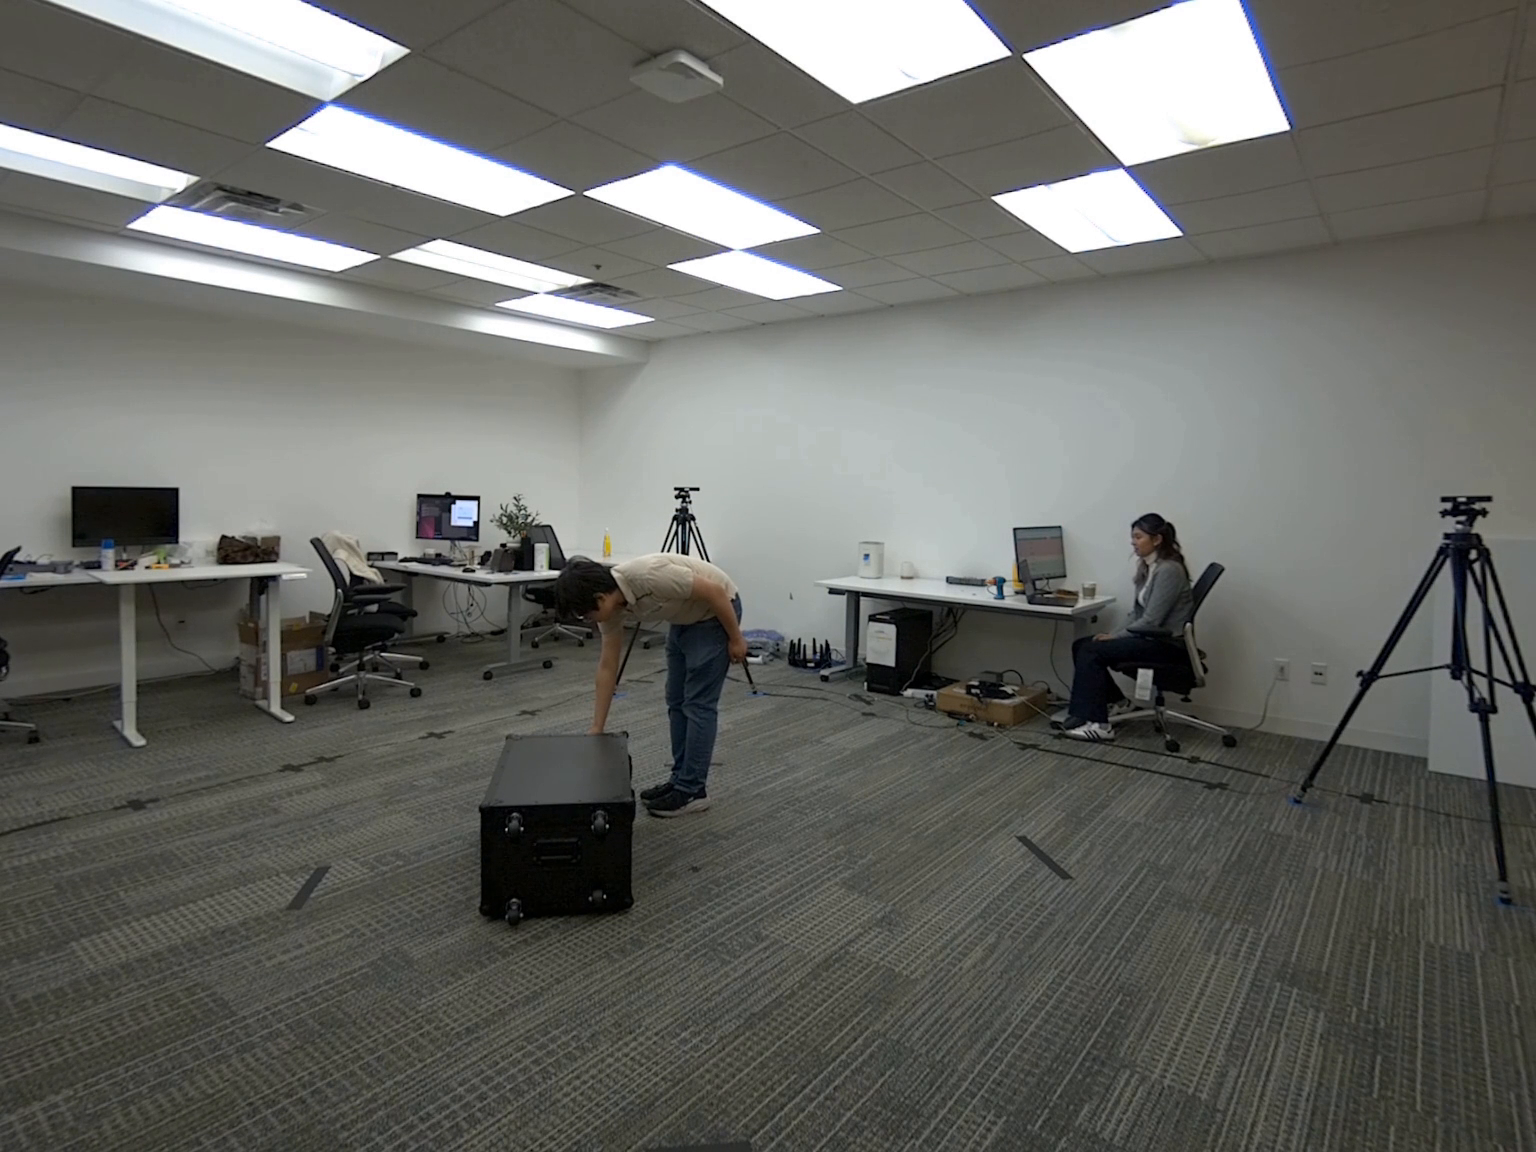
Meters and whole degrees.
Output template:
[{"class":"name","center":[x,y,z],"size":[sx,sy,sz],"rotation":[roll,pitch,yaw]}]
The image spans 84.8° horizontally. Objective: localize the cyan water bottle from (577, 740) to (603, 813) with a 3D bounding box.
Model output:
[{"class":"cyan water bottle","center":[-0.771,0.864,3.633],"size":[0.092,0.282,0.093],"rotation":[0,4,-2]}]
